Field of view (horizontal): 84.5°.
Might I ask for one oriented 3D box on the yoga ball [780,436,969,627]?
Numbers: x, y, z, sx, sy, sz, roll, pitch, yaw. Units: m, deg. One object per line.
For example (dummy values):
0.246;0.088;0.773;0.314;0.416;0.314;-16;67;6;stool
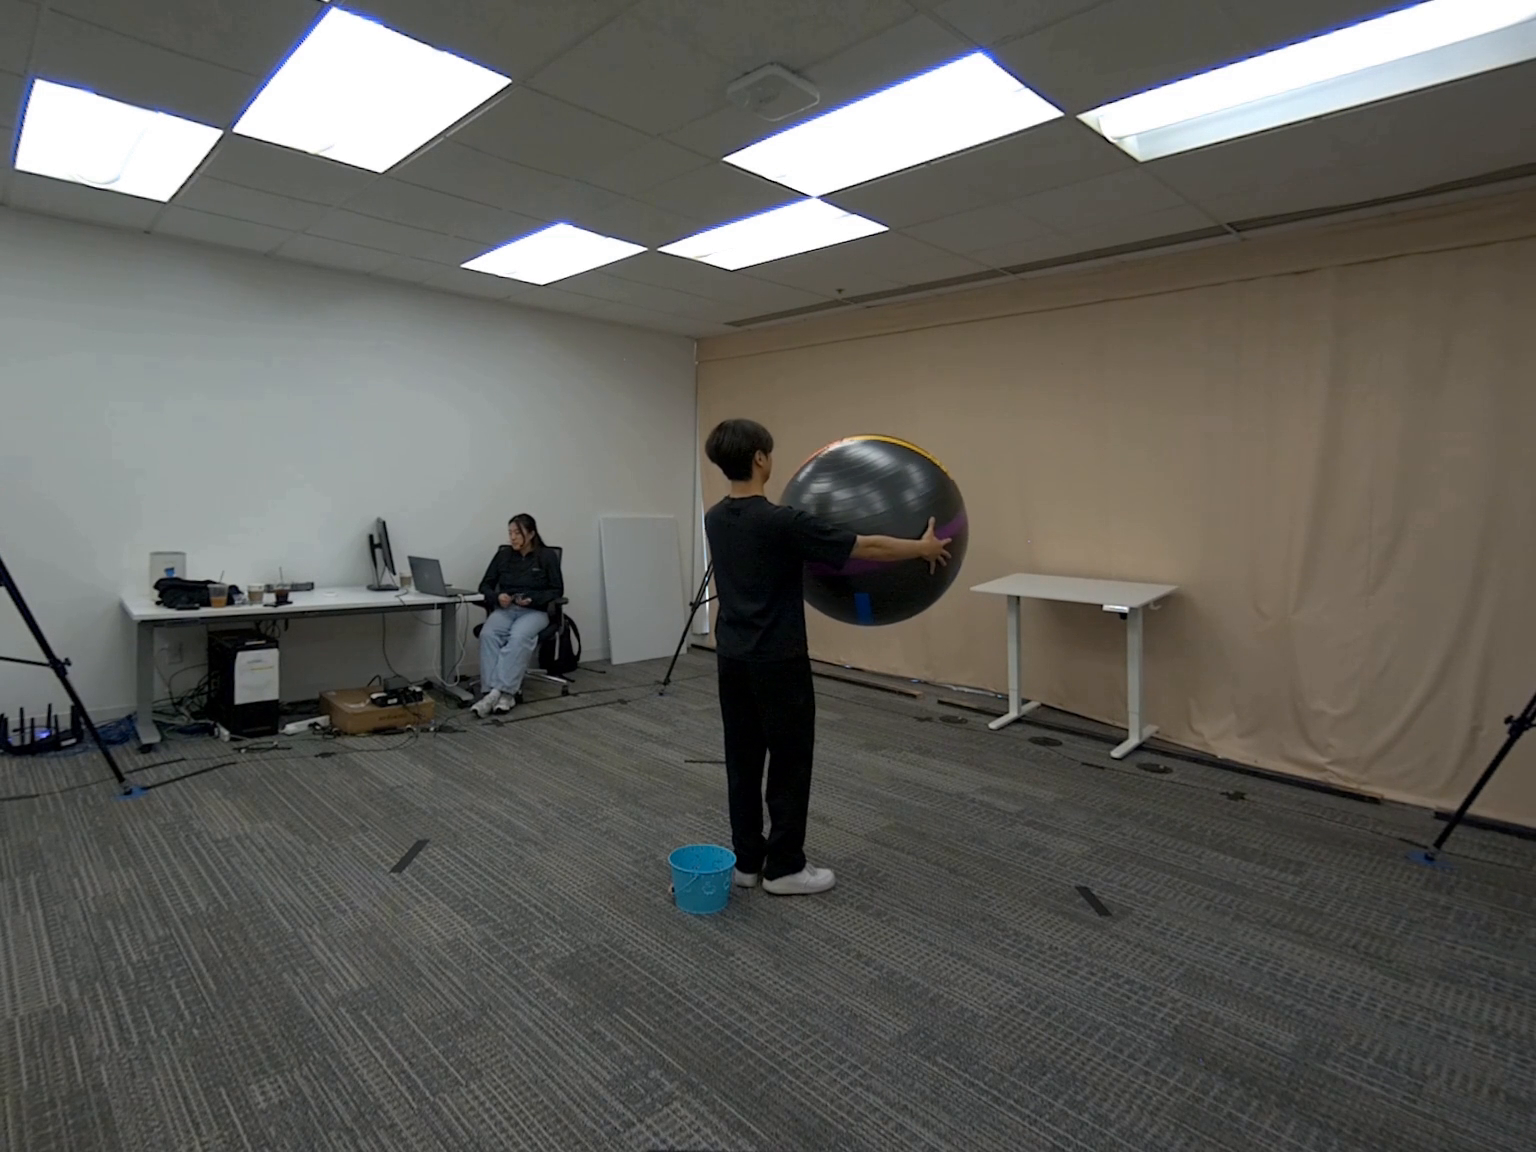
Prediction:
0.408;-0.177;3.370;0.757;0.756;0.761;1;4;-1;yoga ball
